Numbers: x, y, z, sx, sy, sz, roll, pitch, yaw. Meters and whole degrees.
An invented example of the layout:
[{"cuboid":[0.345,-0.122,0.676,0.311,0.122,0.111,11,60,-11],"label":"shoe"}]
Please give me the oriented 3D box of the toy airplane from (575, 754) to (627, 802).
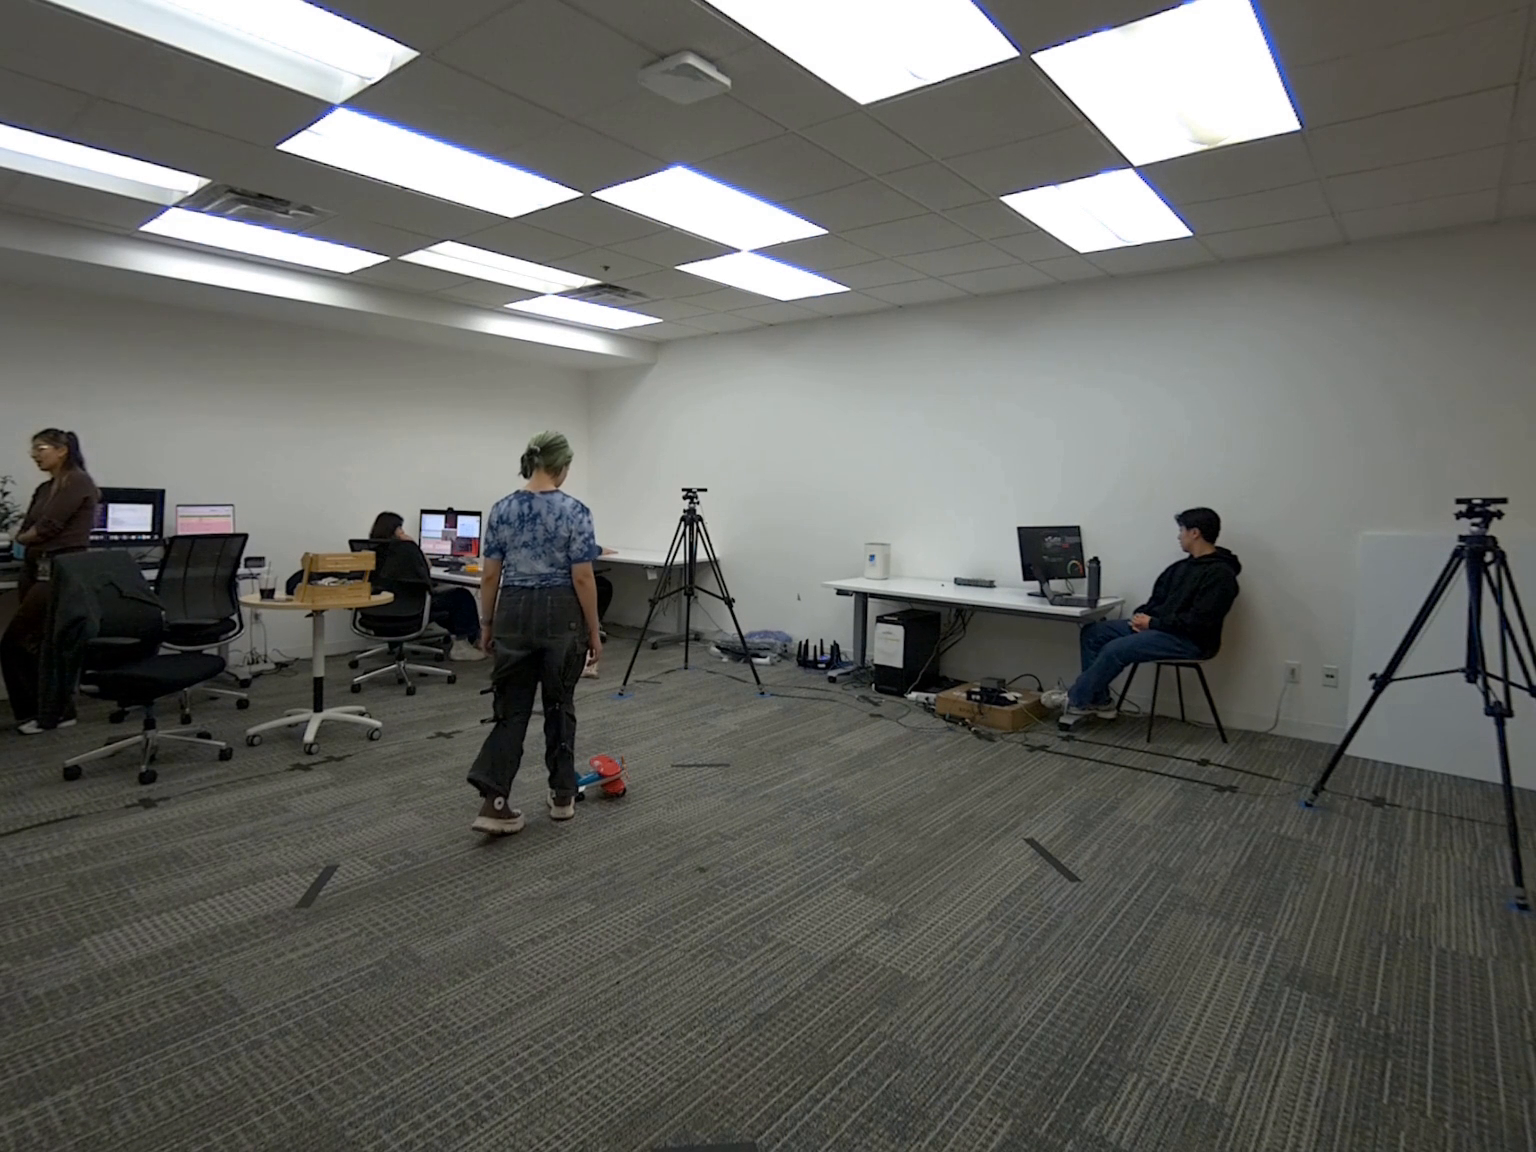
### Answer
[{"cuboid":[-0.763,0.918,3.824,0.259,0.156,0.252,5,4,31],"label":"toy airplane"}]
